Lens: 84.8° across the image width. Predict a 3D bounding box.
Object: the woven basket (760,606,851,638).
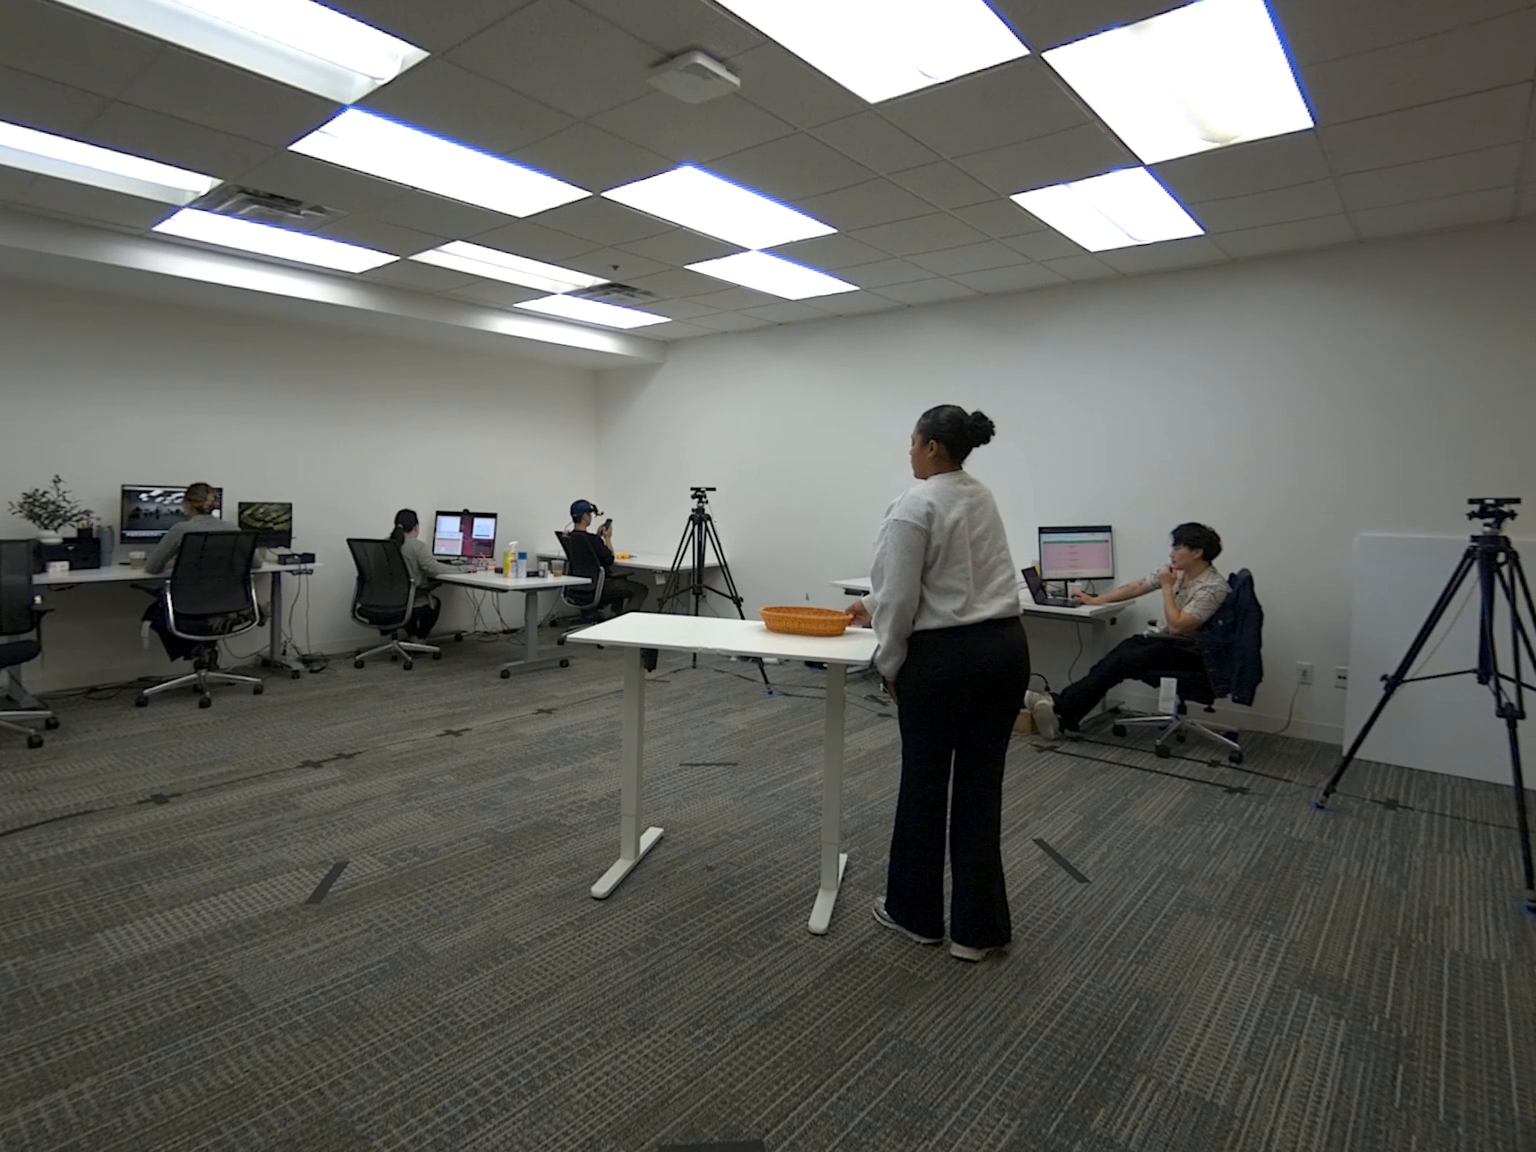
[{"bbox_3d":[0.139,0.165,3.068,0.359,0.073,0.247,4,6,24],"label":"woven basket"}]
